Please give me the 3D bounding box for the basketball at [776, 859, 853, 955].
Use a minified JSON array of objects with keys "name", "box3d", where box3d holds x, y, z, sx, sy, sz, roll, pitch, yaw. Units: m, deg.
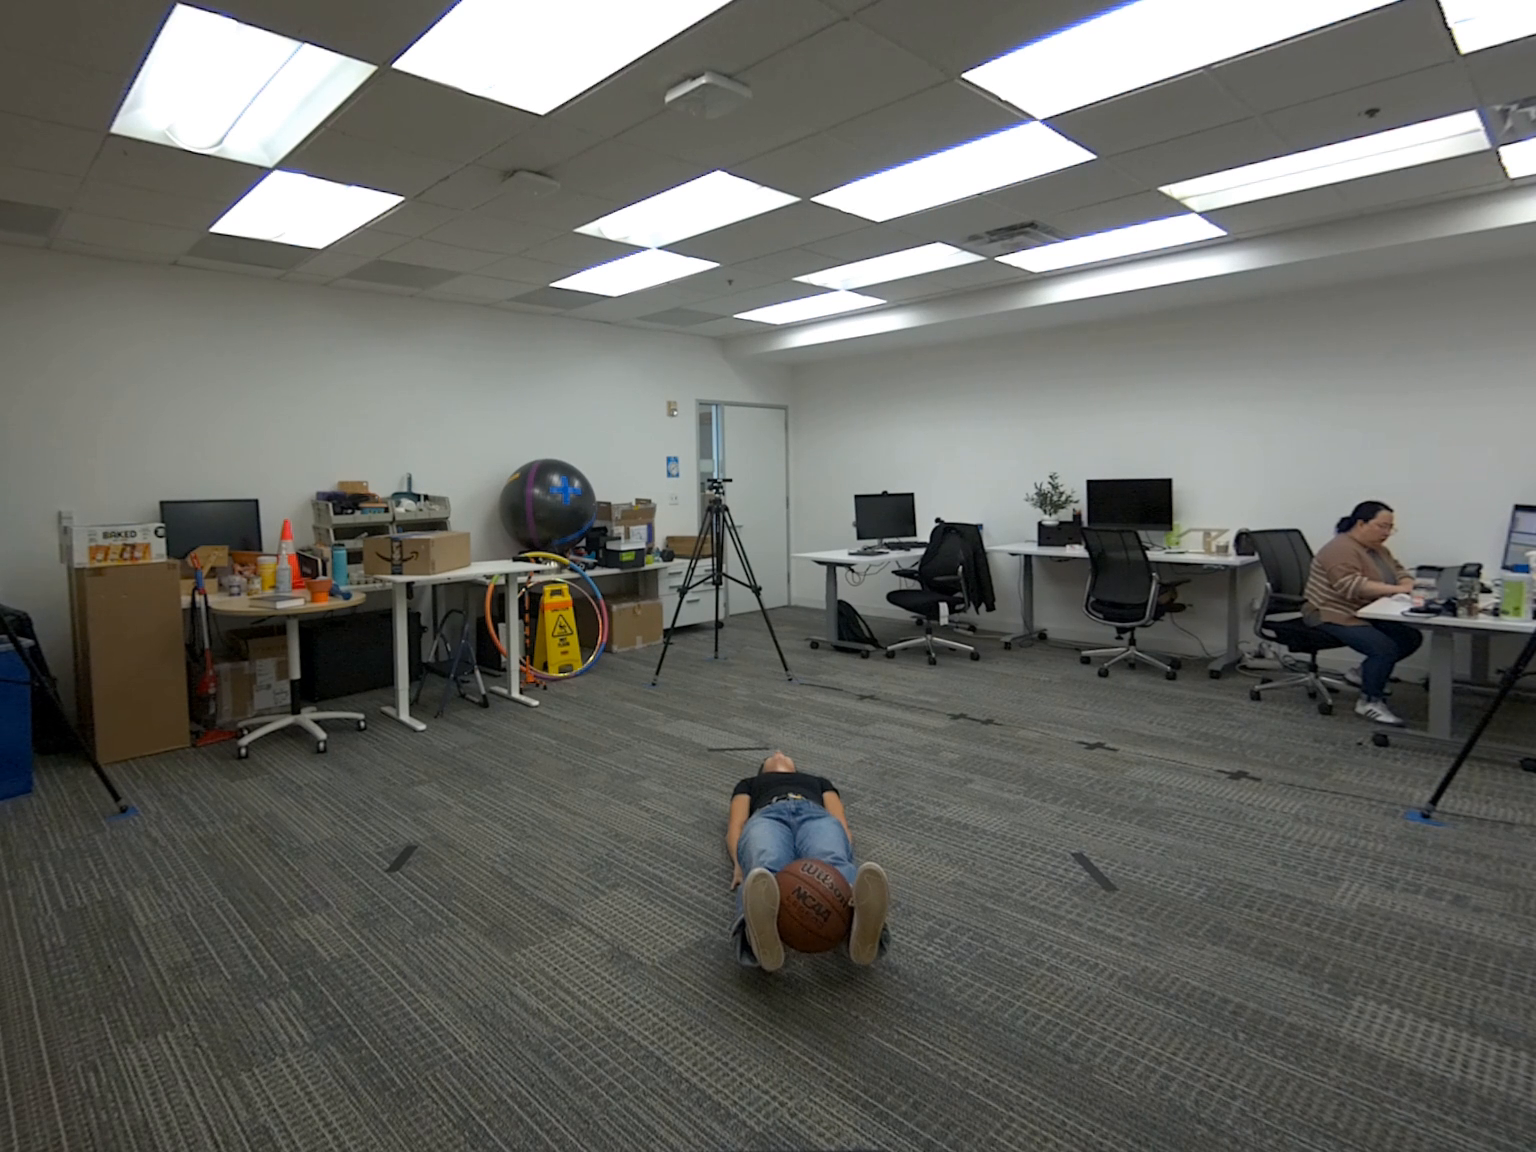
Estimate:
[{"name":"basketball","box3d":[0.123,0.891,2.328,0.236,0.235,0.237,-1,5,-2]}]
